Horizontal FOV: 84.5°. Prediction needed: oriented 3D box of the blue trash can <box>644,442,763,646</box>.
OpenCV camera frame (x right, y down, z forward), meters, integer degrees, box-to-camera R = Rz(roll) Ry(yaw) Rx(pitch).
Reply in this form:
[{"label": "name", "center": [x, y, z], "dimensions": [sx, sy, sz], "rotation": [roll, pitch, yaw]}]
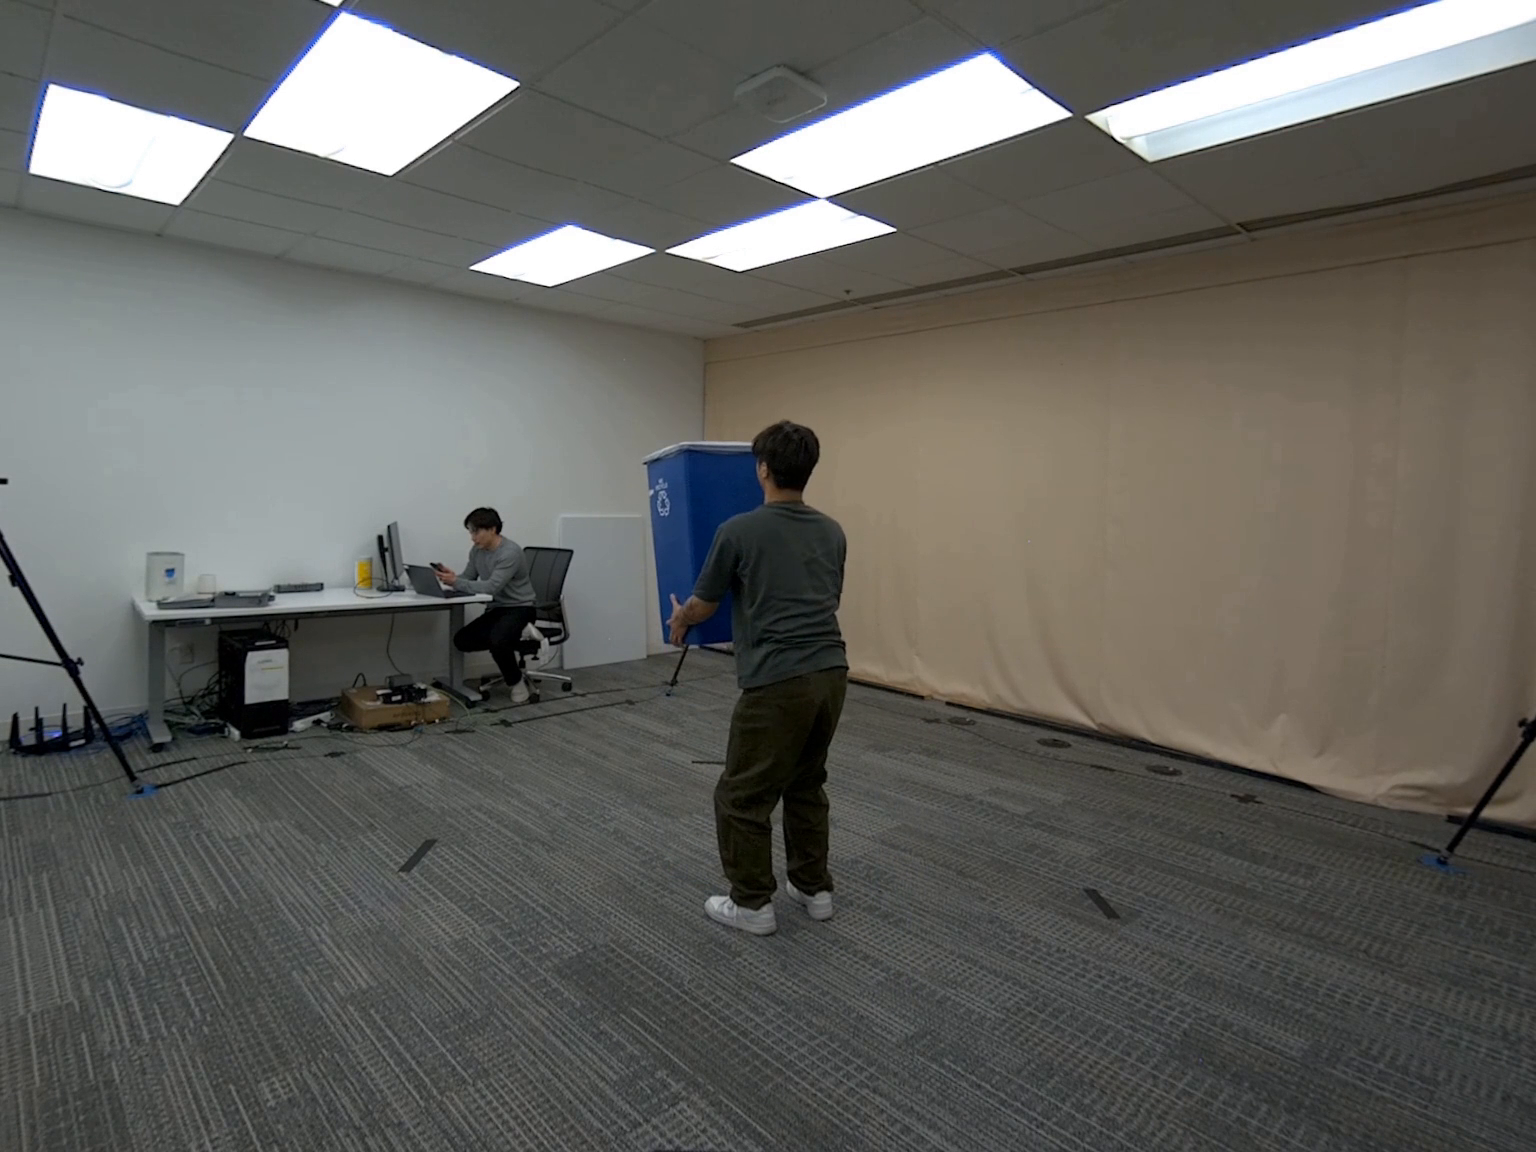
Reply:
[{"label": "blue trash can", "center": [-0.230, -0.119, 3.153], "dimensions": [0.366, 0.715, 0.385], "rotation": [-2, -3, -32]}]
